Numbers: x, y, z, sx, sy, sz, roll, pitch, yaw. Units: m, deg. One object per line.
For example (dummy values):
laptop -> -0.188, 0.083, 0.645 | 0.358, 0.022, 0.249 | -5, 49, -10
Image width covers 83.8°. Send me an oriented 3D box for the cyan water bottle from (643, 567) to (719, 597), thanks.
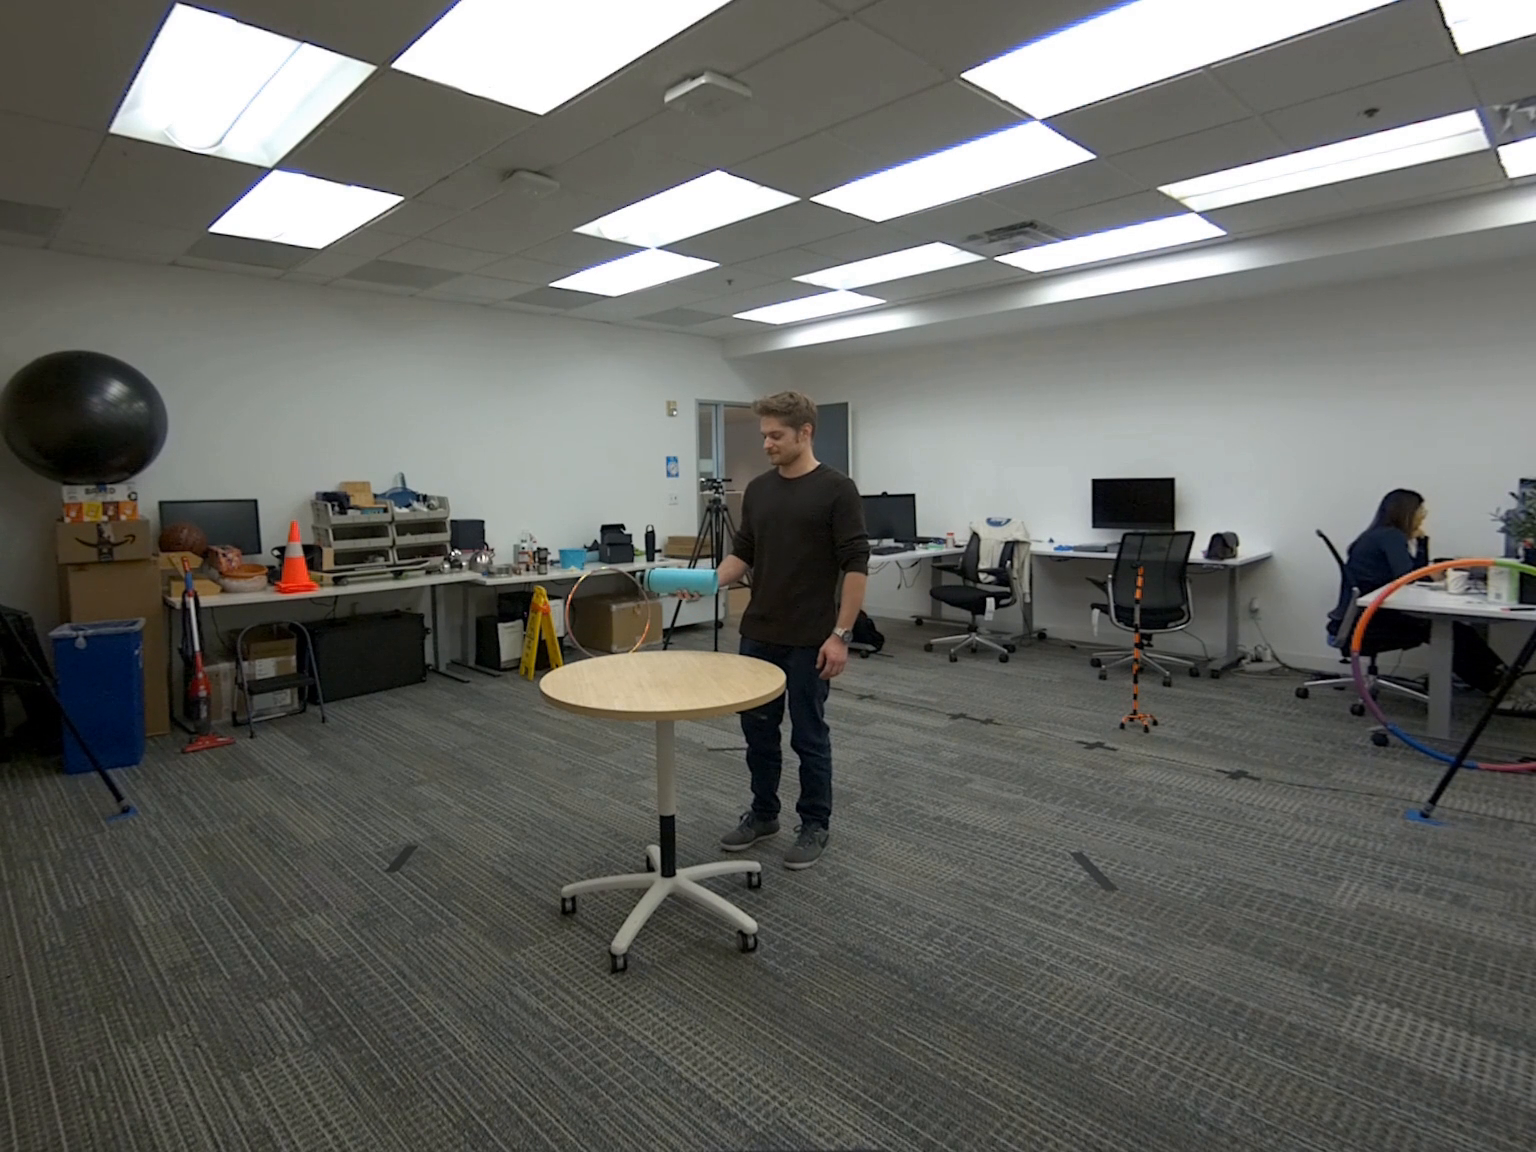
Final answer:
cyan water bottle -> -0.317, 0.014, 3.001 | 0.286, 0.092, 0.092 | 1, 5, 9
